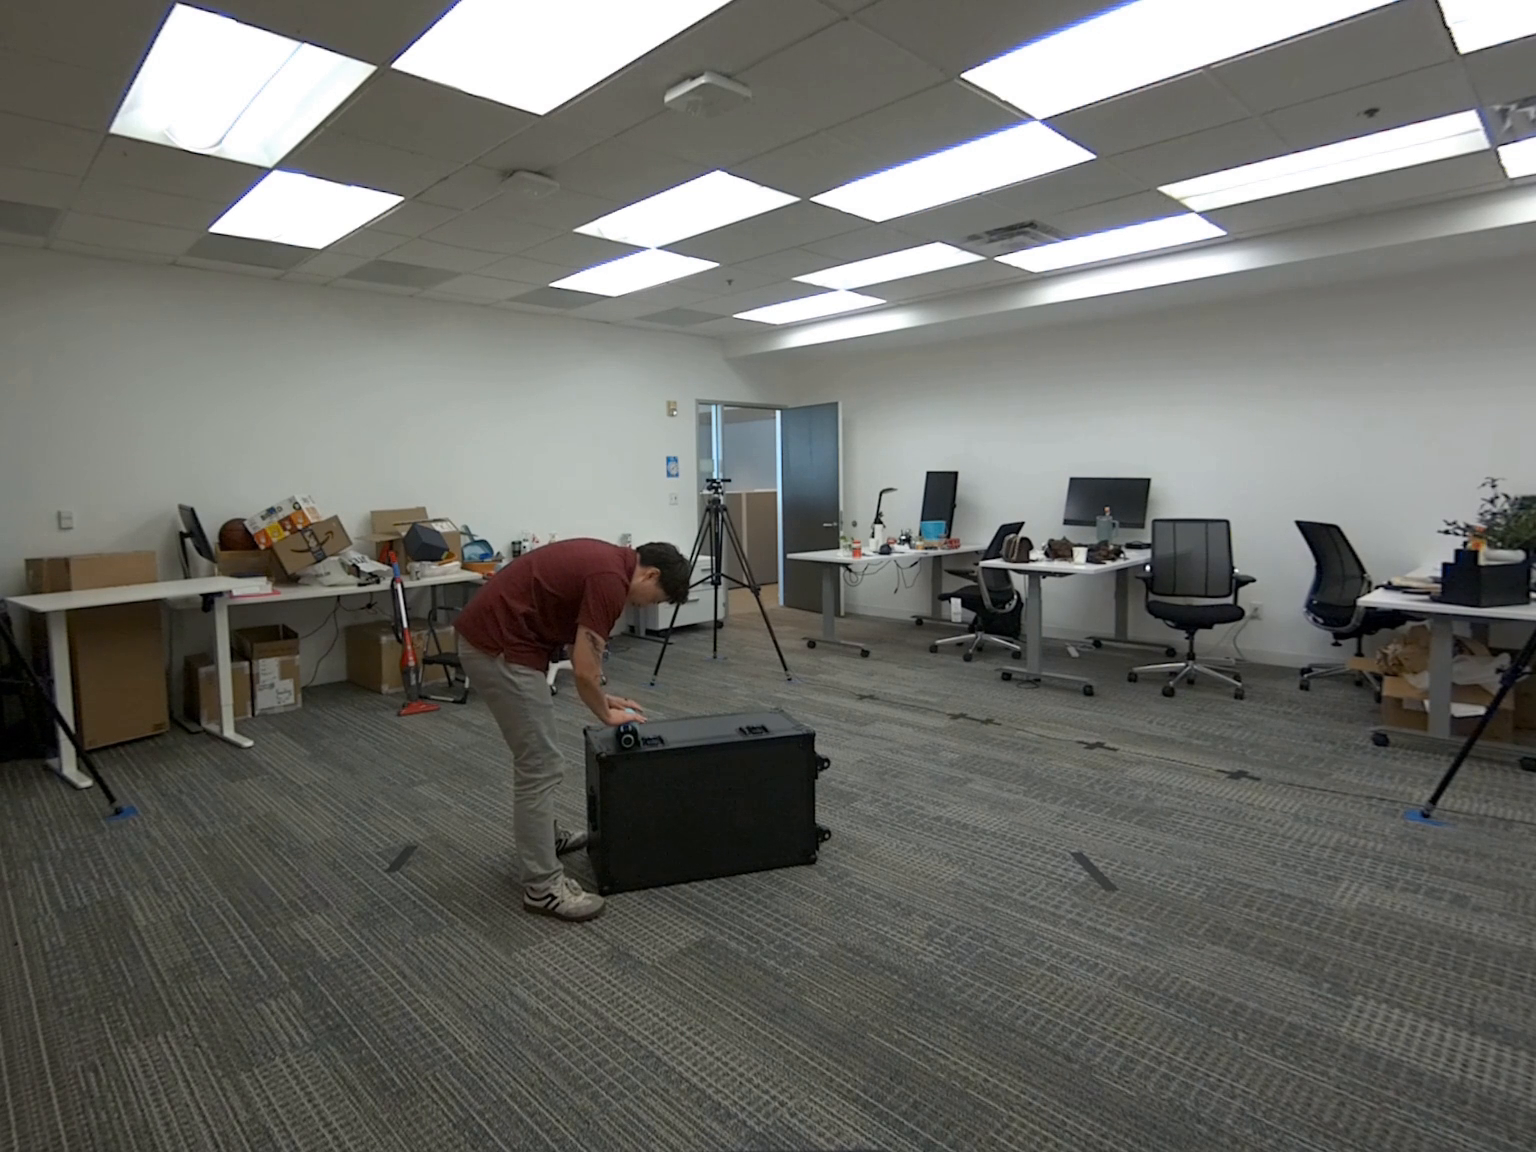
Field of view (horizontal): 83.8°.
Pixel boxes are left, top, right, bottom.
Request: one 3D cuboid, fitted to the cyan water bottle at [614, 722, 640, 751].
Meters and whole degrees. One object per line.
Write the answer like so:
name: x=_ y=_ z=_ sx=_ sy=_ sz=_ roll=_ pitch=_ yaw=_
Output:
cyan water bottle: x=-0.504 y=0.542 z=3.048 sx=0.092 sy=0.092 sz=0.286 roll=-2 pitch=5 yaw=-7
